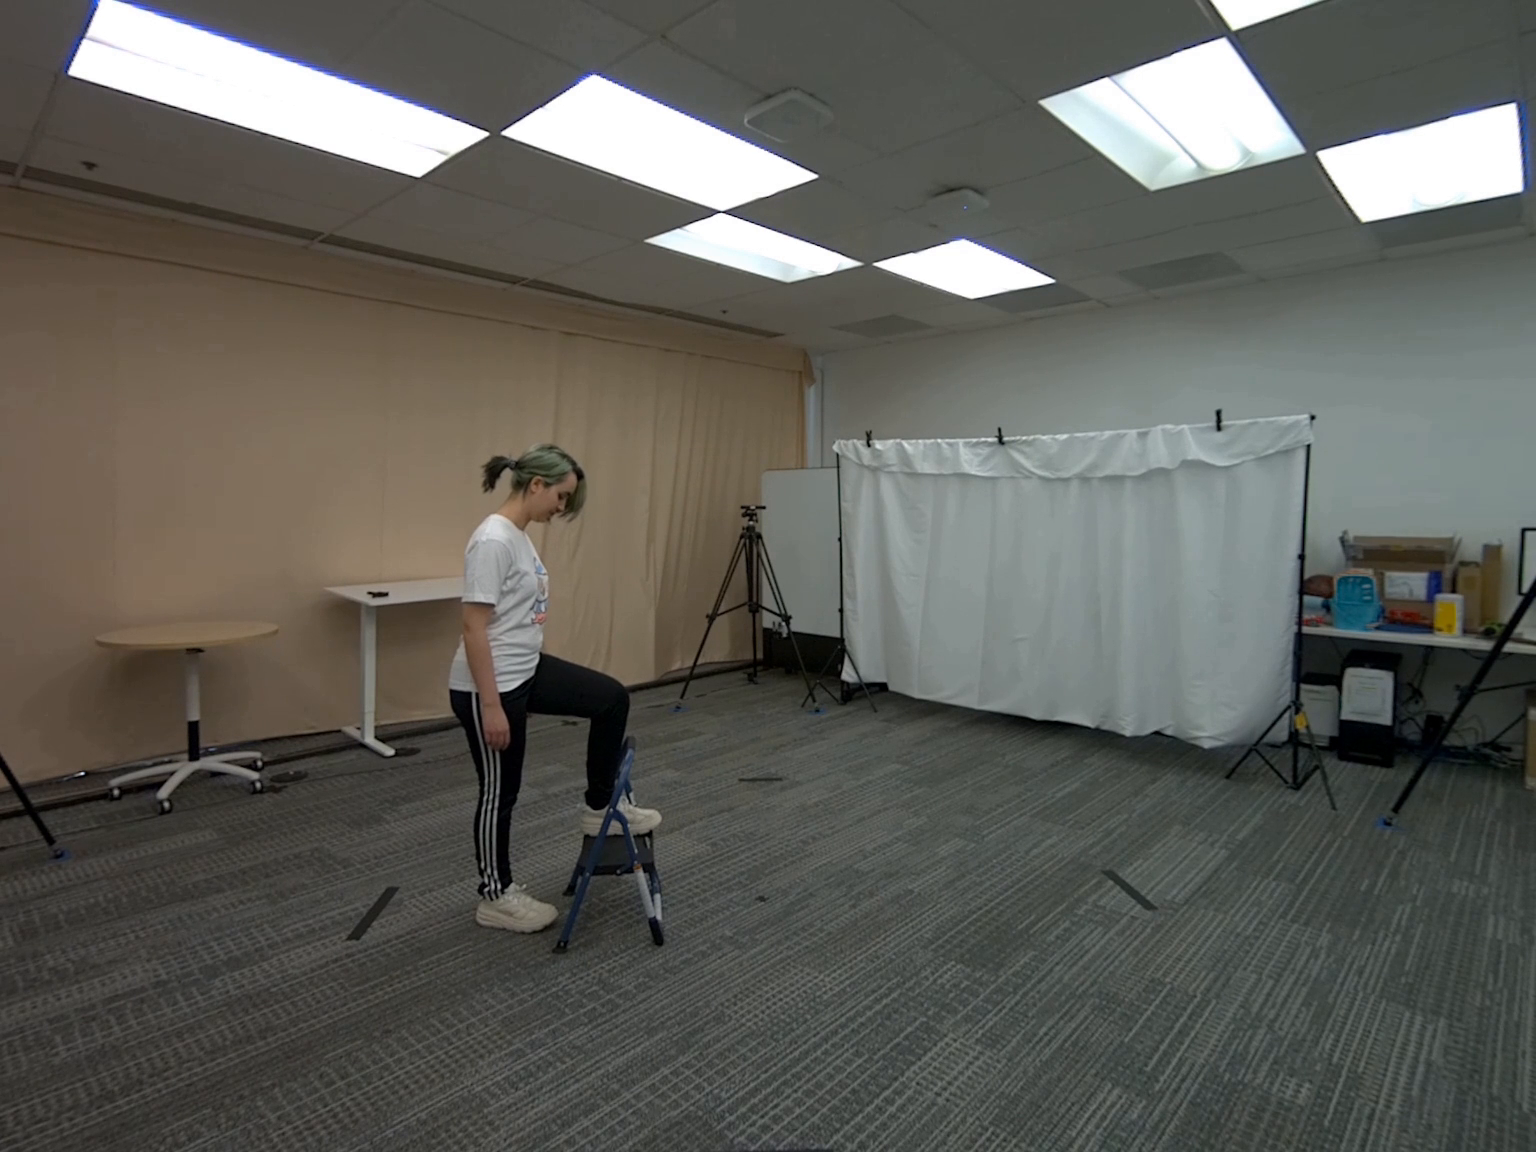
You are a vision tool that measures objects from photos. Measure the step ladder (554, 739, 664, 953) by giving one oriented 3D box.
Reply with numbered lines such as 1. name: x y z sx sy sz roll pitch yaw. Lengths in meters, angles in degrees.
1. step ladder: -0.534 0.863 2.834 0.346 0.605 0.435 -1 3 -8
